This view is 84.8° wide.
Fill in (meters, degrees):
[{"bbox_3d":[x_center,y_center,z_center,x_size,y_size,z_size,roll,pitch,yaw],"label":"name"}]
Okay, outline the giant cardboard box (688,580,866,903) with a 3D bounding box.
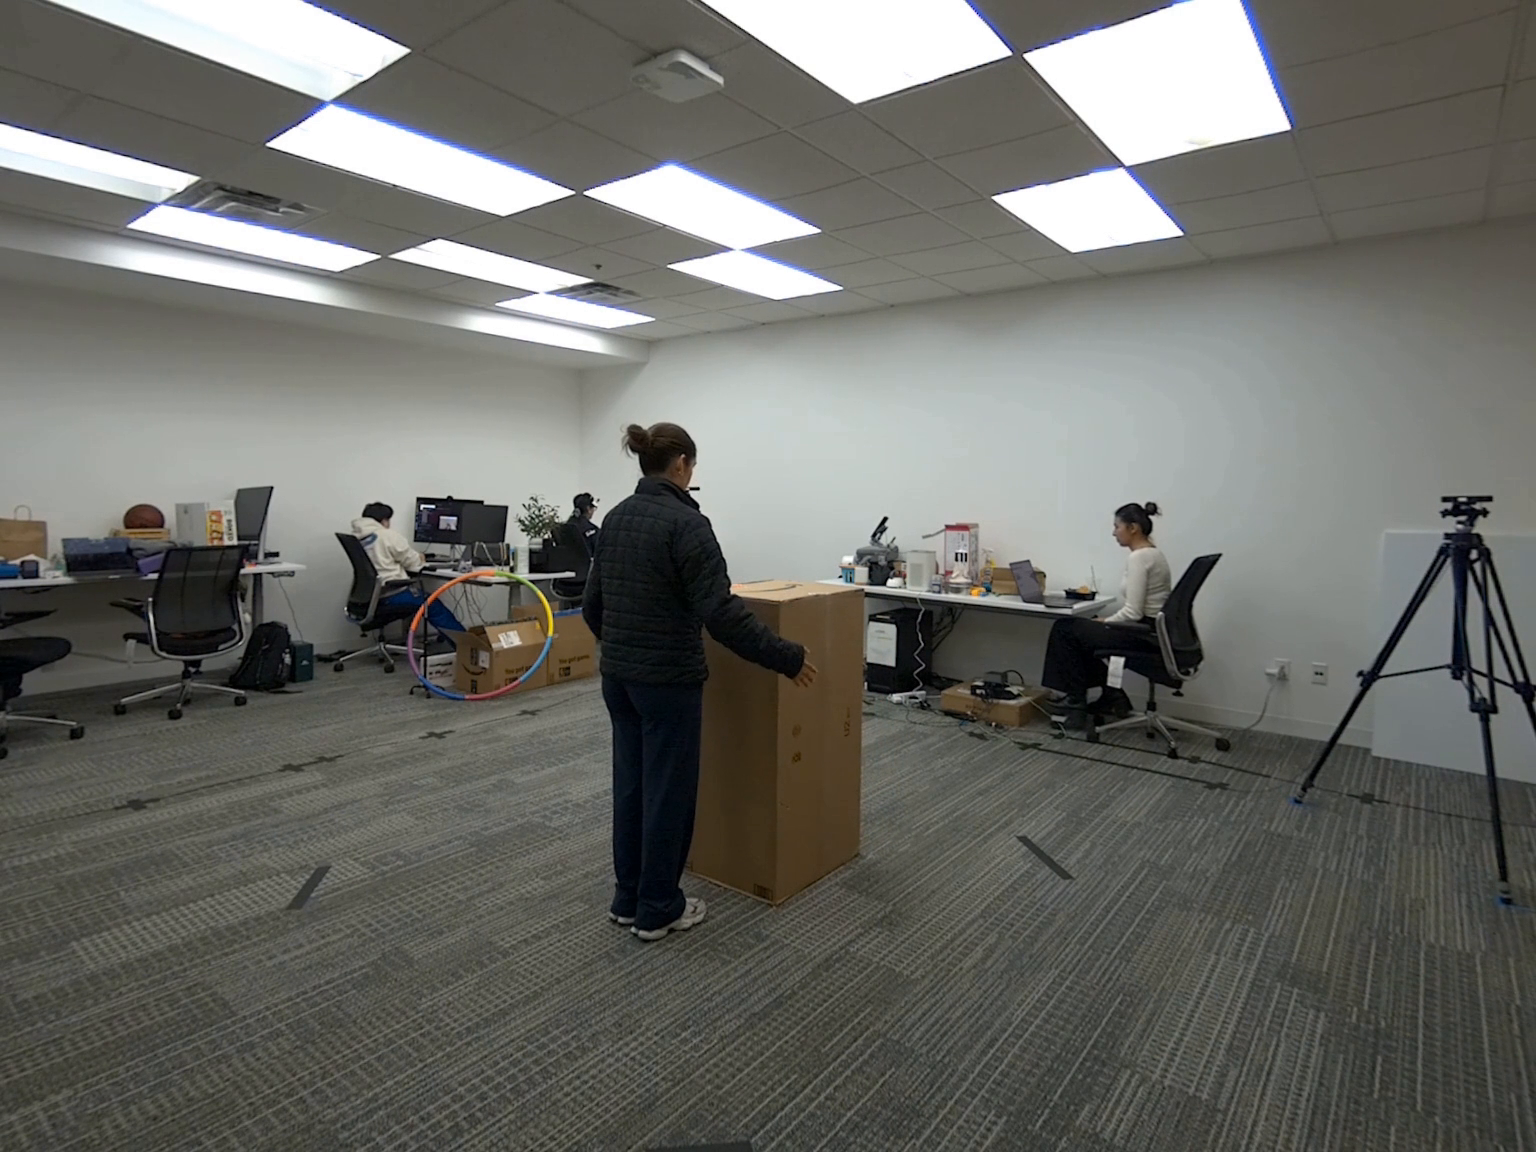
[{"bbox_3d":[0.042,0.557,3.166,0.440,1.023,0.560,3,4,38],"label":"giant cardboard box"}]
